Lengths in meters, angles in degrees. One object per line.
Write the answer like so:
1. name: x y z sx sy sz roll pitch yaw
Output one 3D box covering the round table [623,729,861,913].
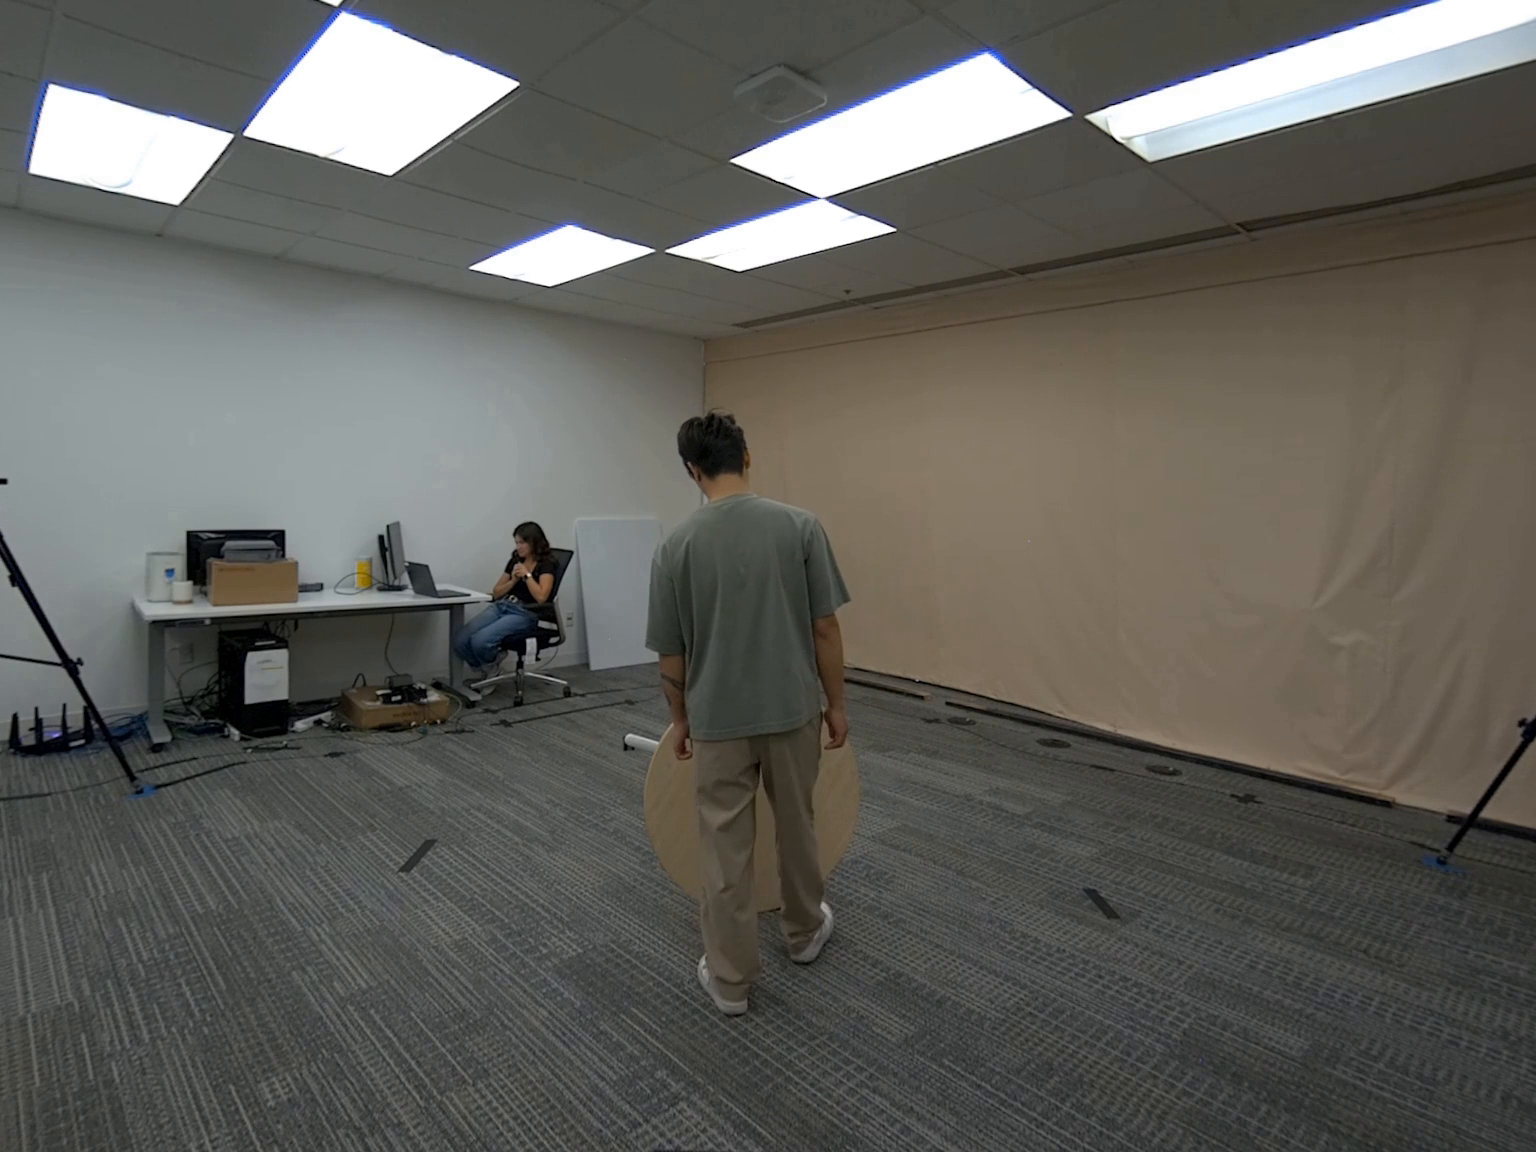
1. round table: -0.165 0.762 3.242 0.775 0.787 0.795 0 -3 -17
